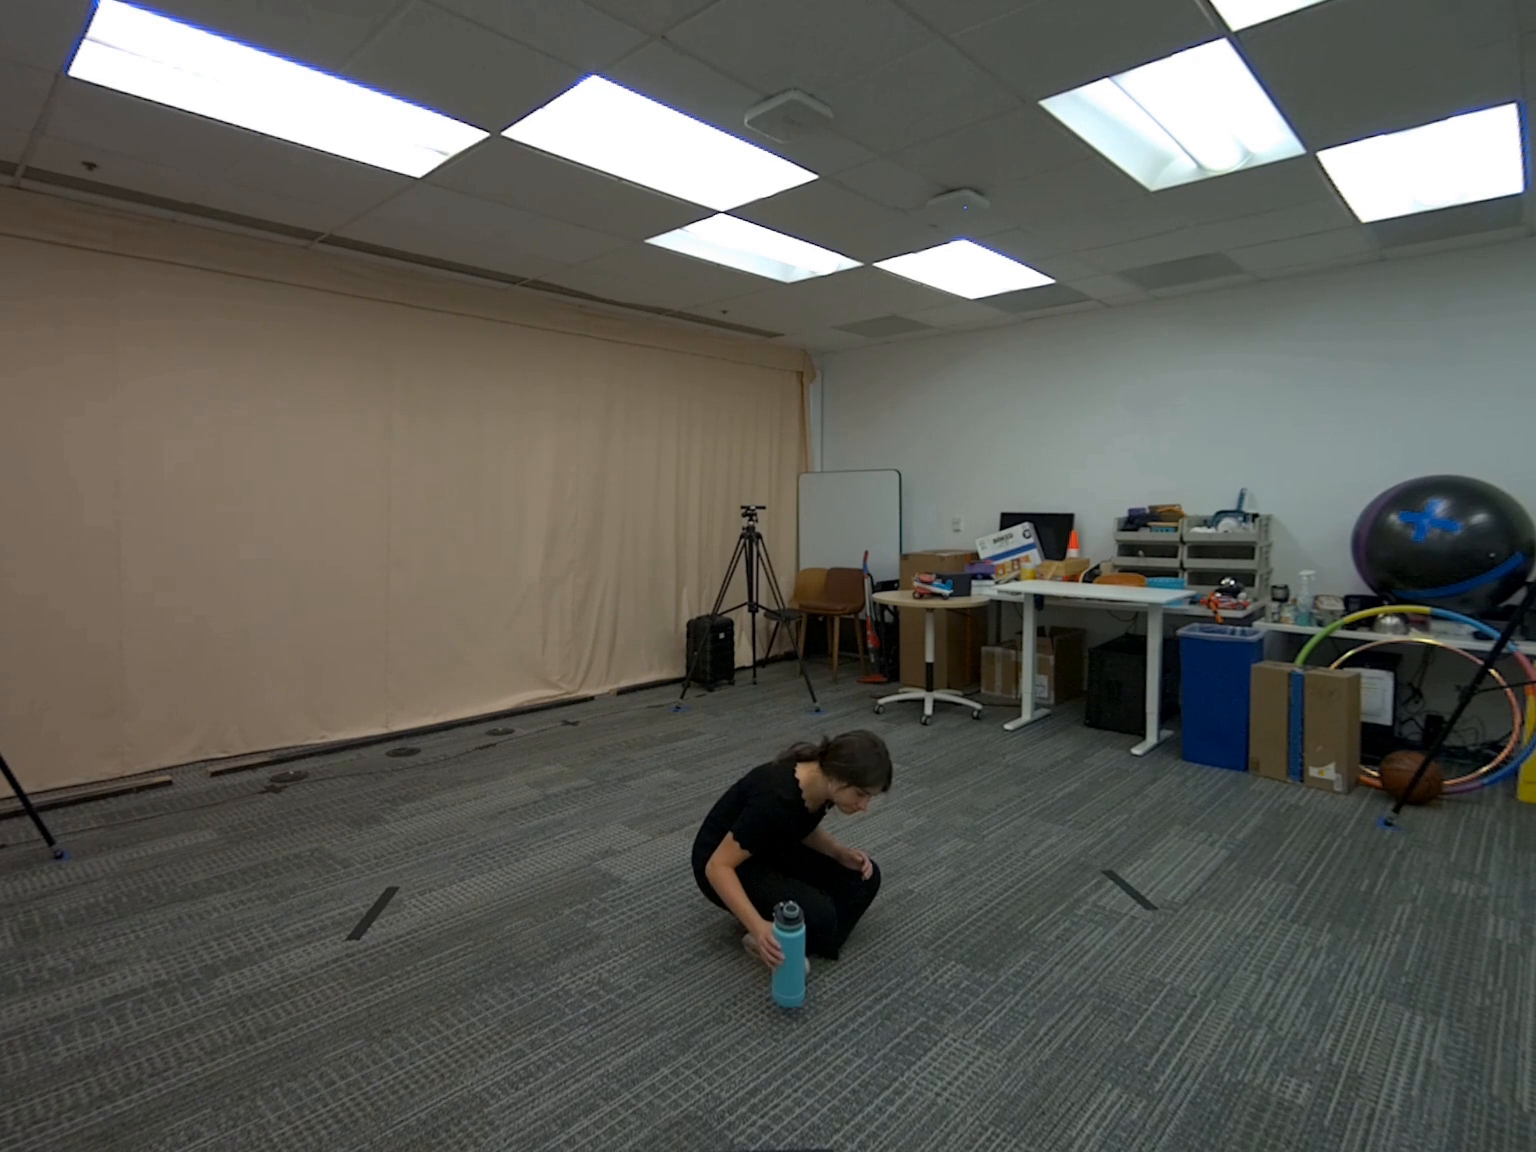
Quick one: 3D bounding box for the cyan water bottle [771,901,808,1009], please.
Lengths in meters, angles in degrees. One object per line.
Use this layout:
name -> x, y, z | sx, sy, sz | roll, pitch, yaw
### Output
cyan water bottle -> 0.057, 1.014, 2.276 | 0.092, 0.281, 0.093 | 1, 12, -2
